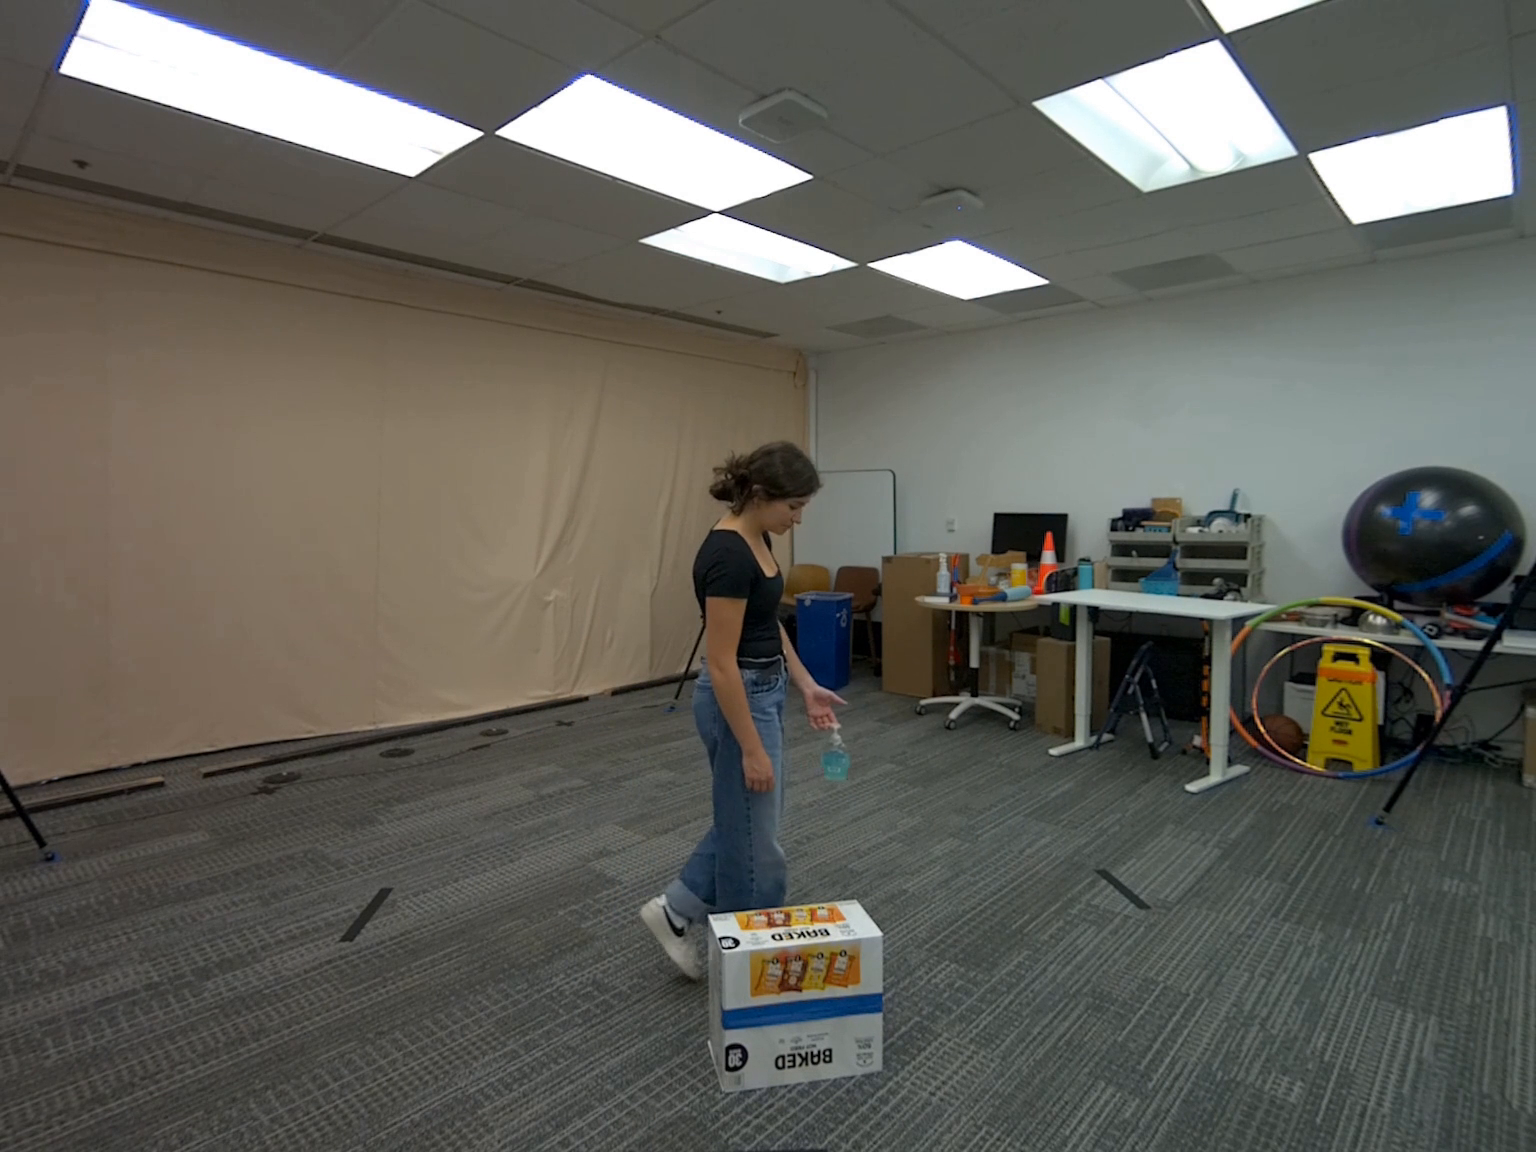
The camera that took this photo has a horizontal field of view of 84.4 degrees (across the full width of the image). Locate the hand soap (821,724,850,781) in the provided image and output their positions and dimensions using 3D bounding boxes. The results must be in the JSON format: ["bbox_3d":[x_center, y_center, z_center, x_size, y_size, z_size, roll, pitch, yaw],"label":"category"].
[{"bbox_3d":[0.202,0.518,2.468,0.085,0.167,0.043,1,7,8],"label":"hand soap"}]
